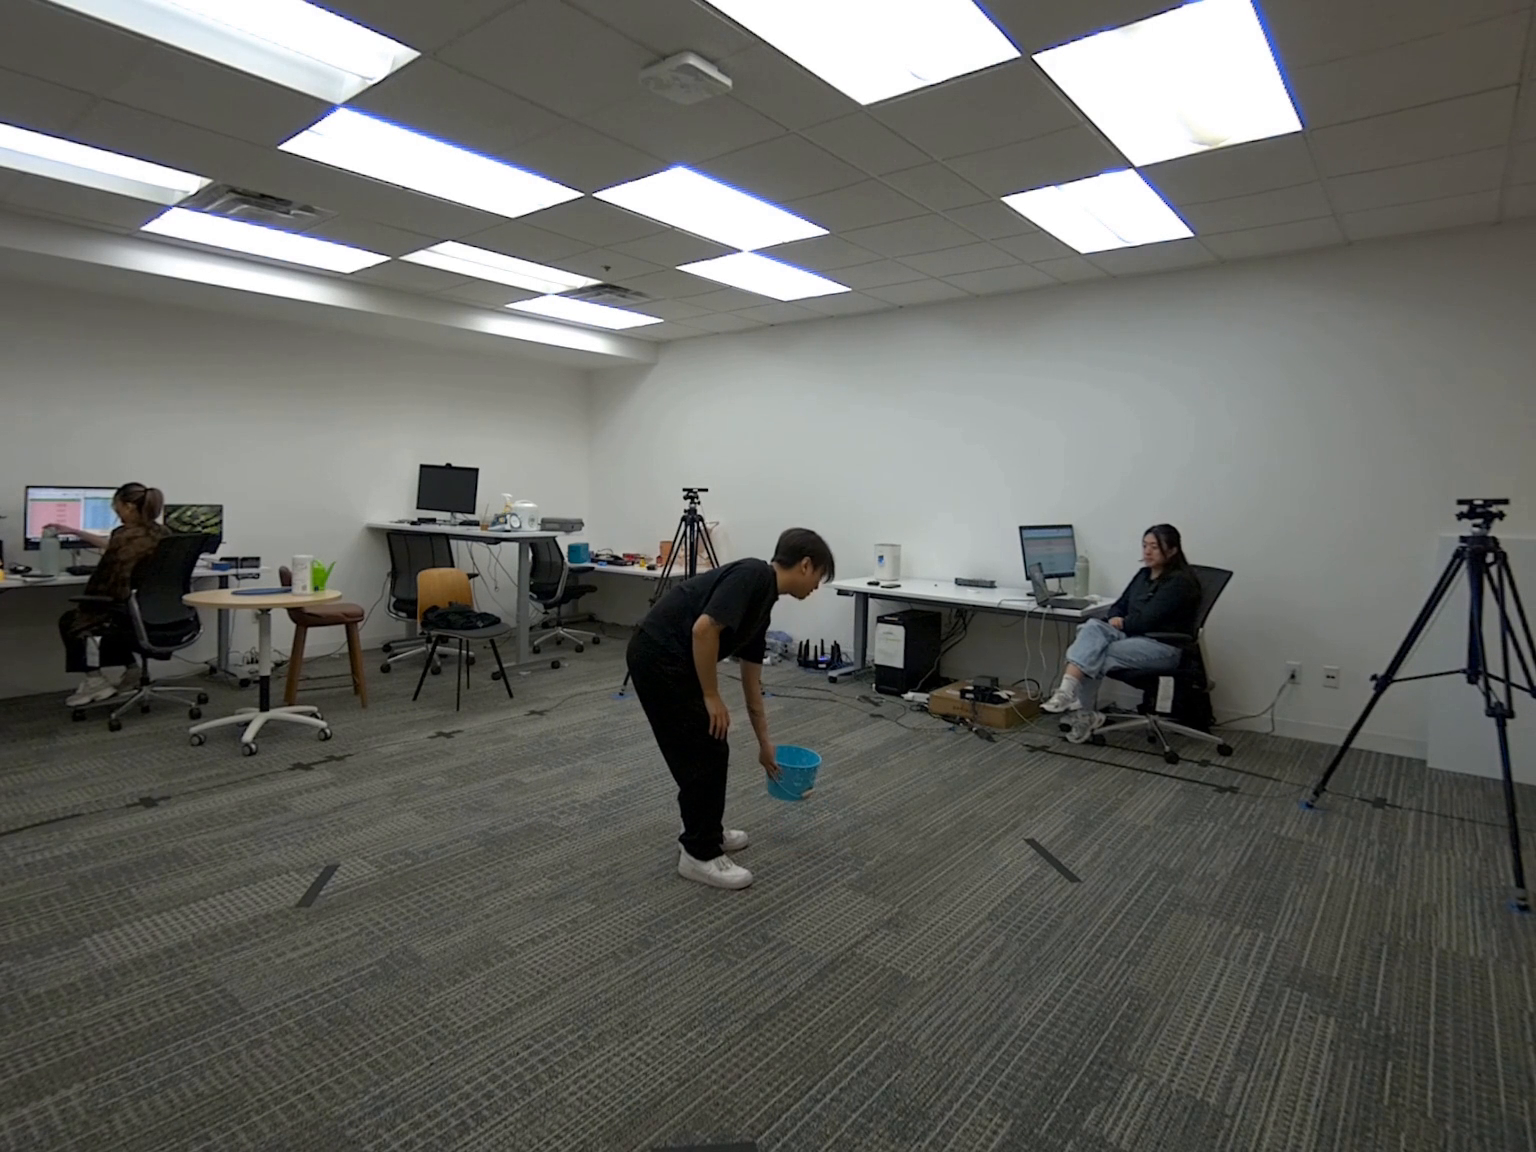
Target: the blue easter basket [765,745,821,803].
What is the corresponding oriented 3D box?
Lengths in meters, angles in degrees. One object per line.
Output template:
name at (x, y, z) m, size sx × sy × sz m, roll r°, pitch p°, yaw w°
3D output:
blue easter basket at (0.082, 0.791, 3.393) m, size 0.243 × 0.155 × 0.245 m, roll 5°, pitch 8°, yaw -2°
